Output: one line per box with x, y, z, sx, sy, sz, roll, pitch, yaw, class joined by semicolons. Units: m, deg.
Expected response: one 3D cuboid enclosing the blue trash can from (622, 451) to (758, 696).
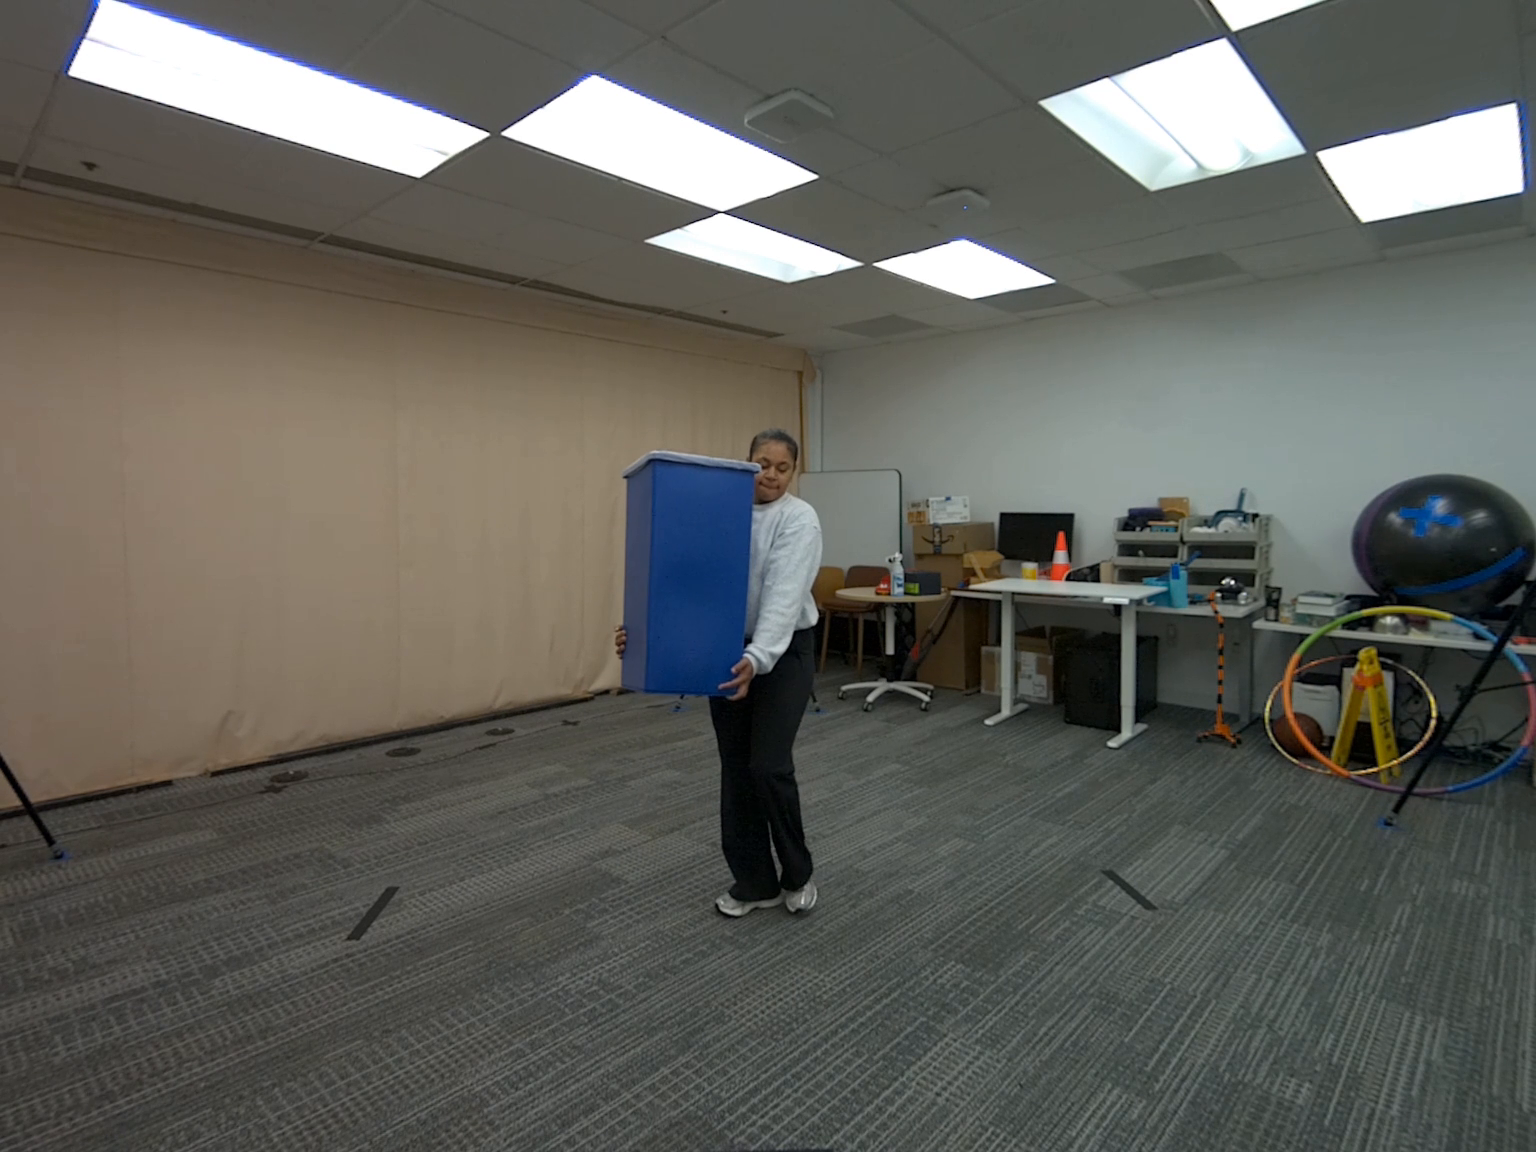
-0.270;0.006;2.688;0.368;0.716;0.382;5;-6;-25;blue trash can
